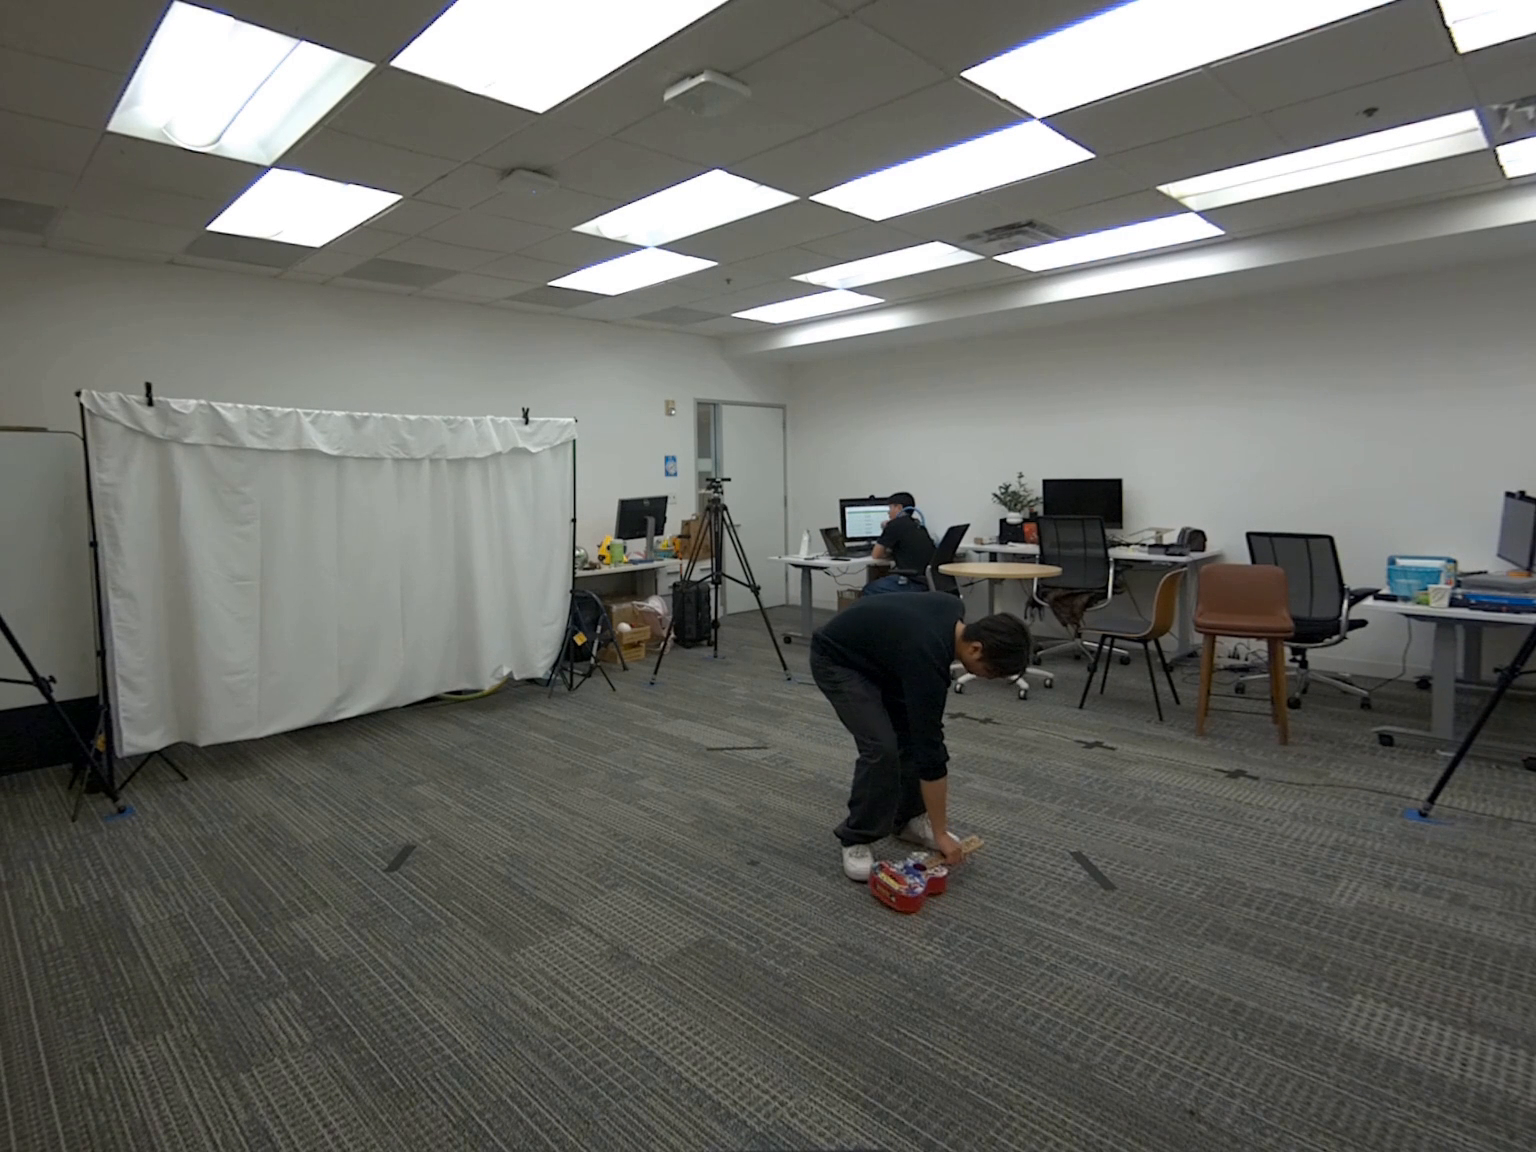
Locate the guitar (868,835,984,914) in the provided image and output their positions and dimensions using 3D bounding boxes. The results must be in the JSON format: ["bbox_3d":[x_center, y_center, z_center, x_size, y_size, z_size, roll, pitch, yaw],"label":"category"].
[{"bbox_3d":[0.580,1.001,2.882,0.487,0.070,0.199,-5,17,-28],"label":"guitar"}]
